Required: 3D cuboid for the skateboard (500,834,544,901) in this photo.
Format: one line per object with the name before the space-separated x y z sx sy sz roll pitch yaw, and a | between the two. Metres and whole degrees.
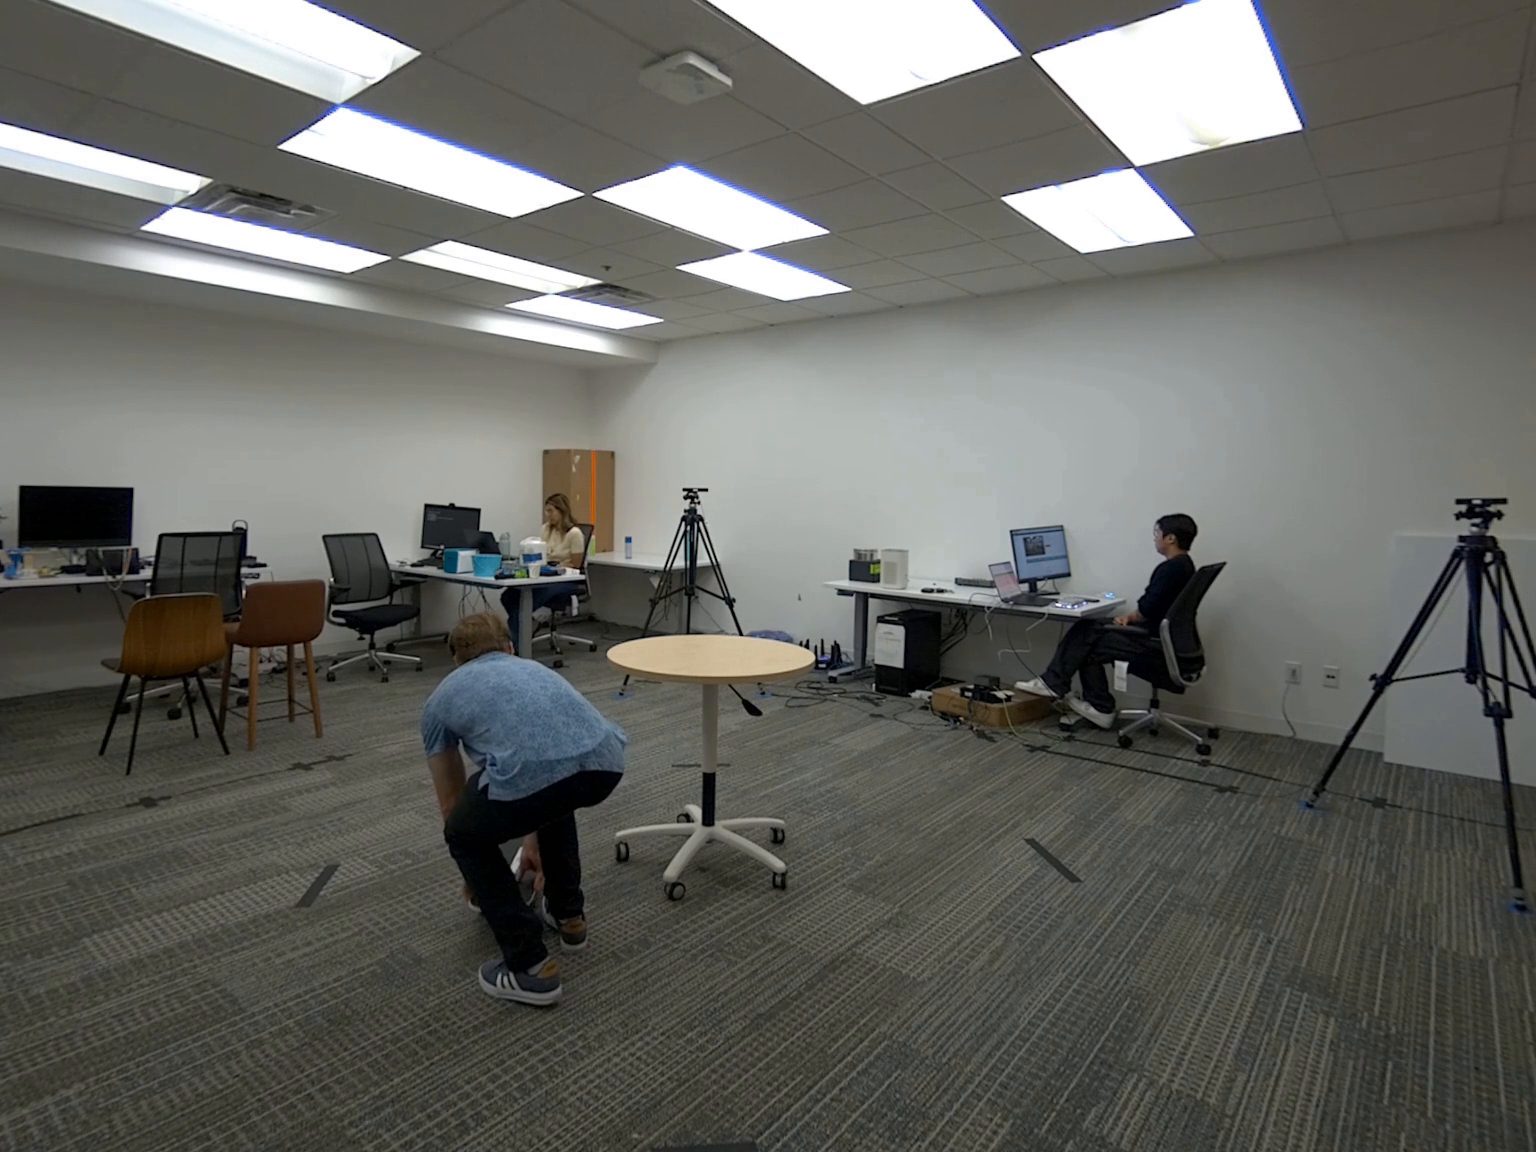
skateboard | -0.872 1.015 2.967 0.193 0.110 0.790 0 5 -5
